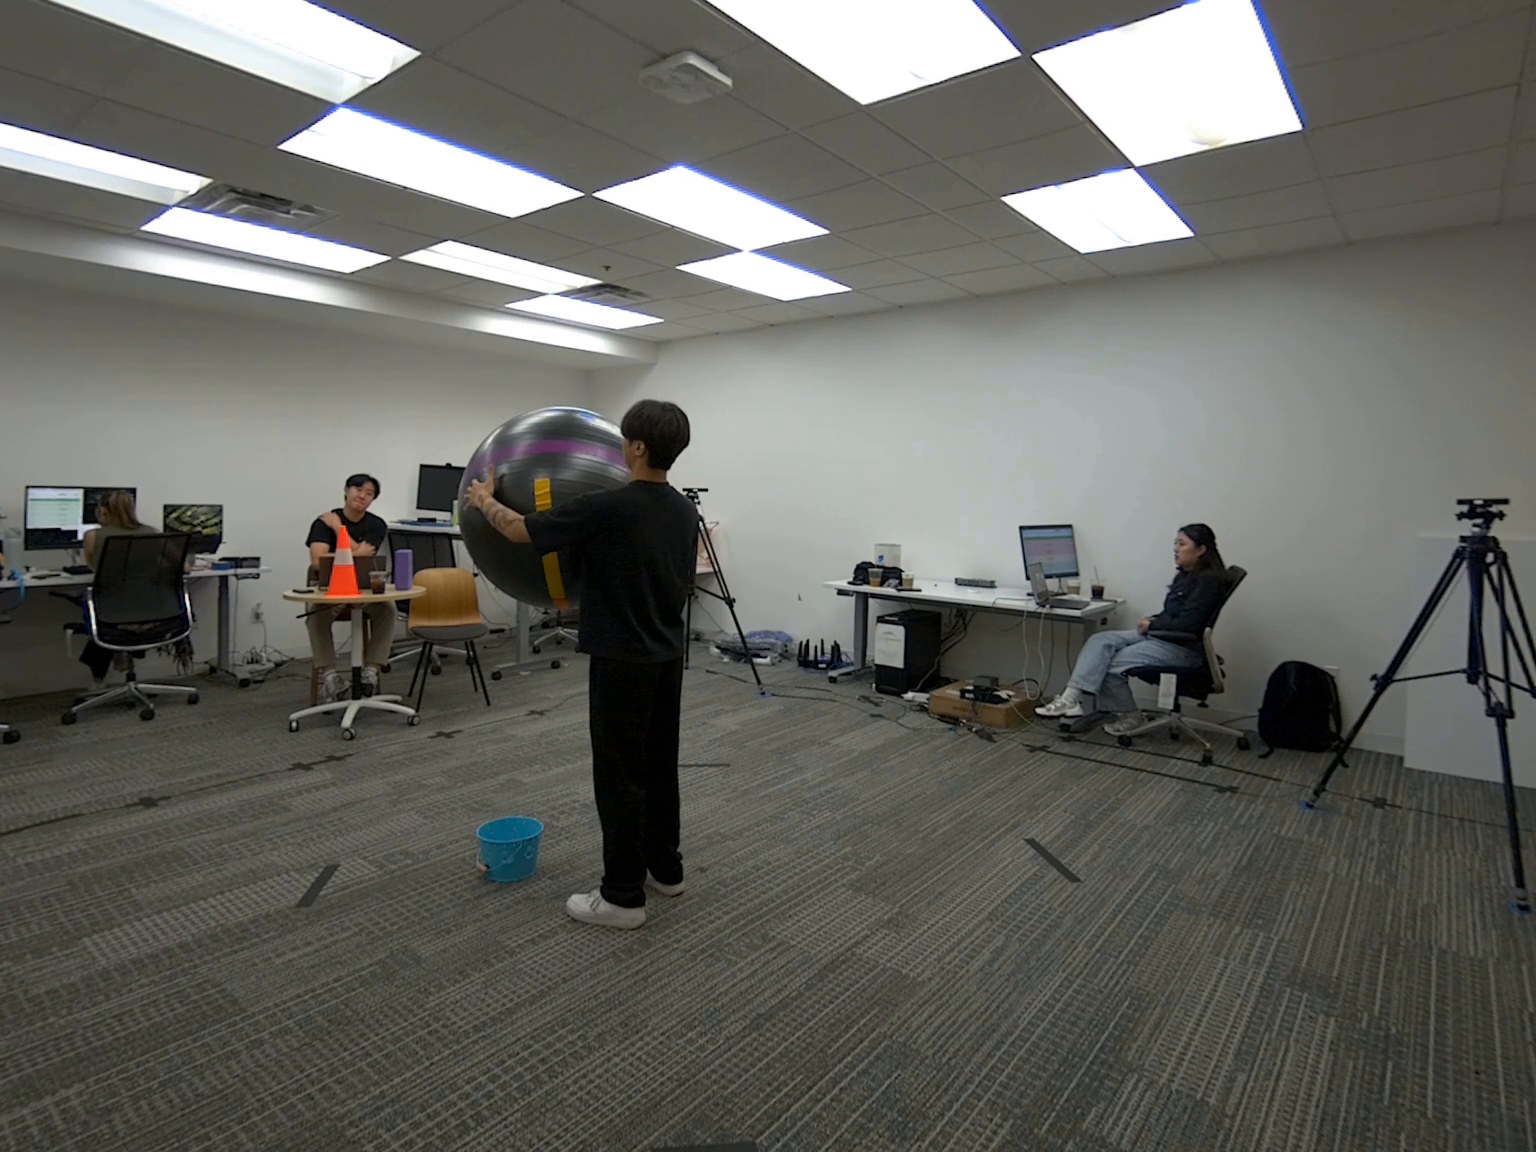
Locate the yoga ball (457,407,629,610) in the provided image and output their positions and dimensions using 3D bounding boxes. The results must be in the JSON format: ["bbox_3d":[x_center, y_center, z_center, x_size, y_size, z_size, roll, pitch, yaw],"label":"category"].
[{"bbox_3d":[-0.801,-0.251,3.212,0.757,0.756,0.762,1,4,-2],"label":"yoga ball"}]
